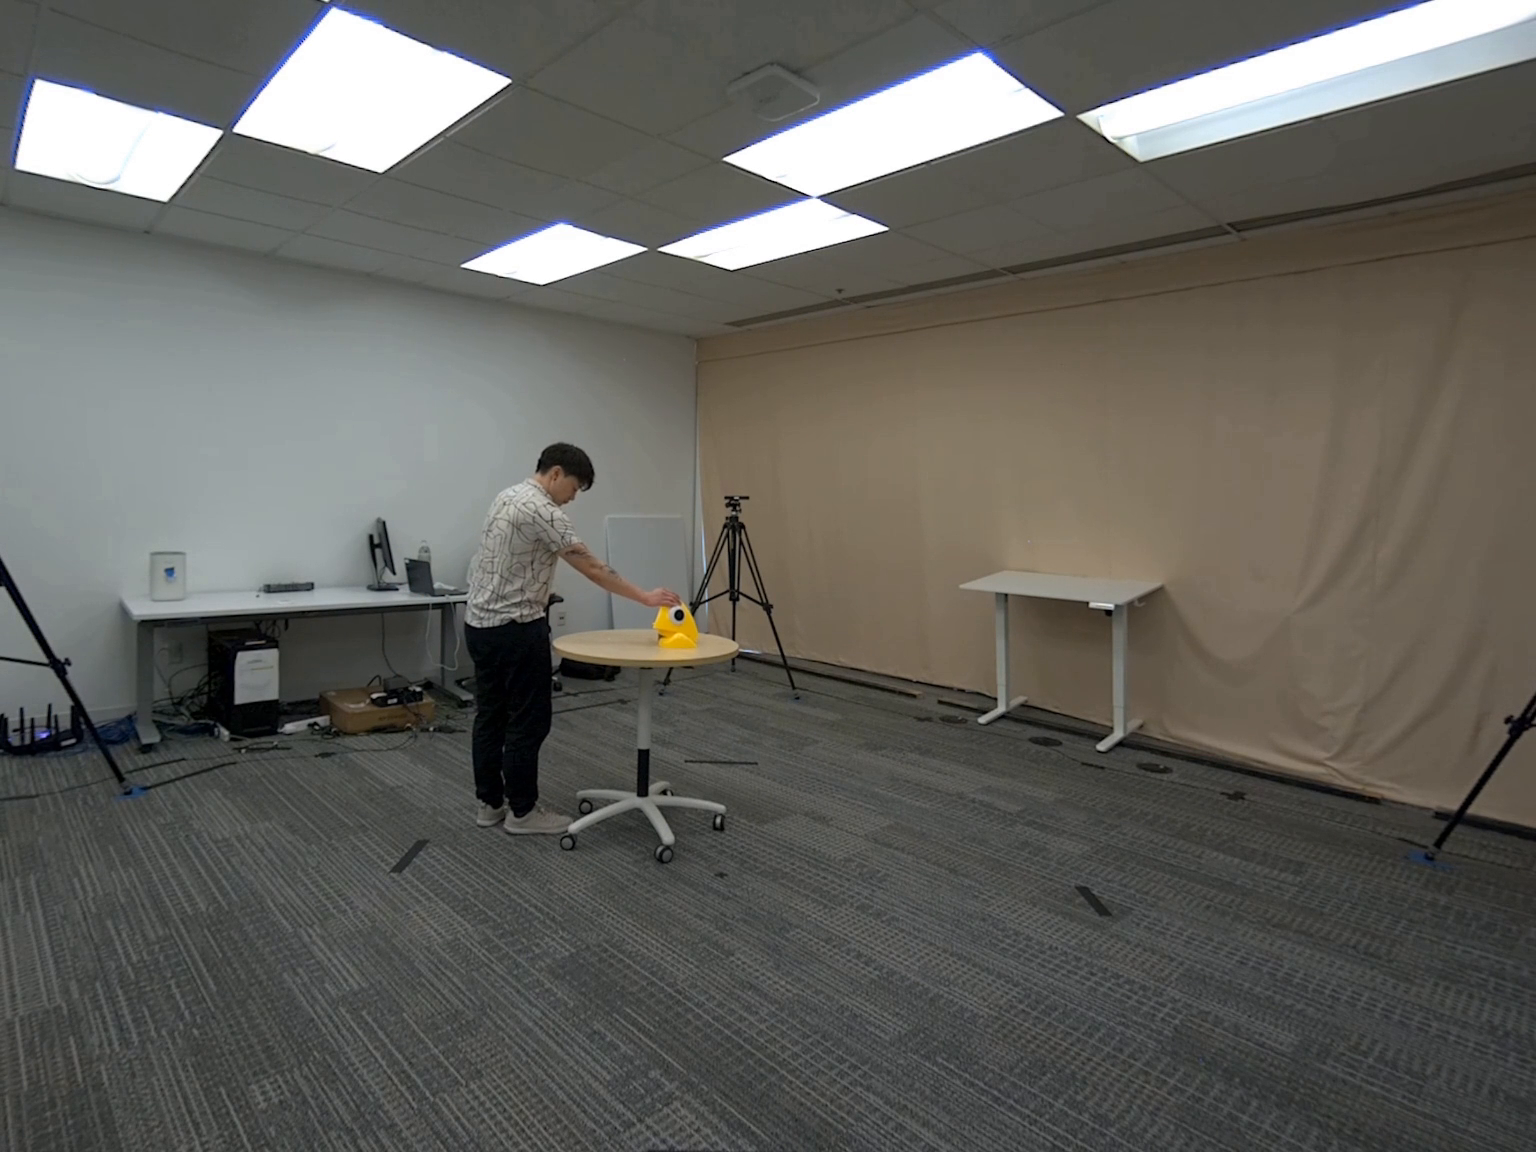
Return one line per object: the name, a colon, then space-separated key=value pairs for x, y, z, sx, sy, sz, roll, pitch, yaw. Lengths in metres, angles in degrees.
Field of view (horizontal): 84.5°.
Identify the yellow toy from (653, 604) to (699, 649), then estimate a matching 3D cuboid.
yellow toy: x=-0.388 y=0.170 z=3.484 sx=0.192 sy=0.230 sz=0.206 roll=2 pitch=3 yaw=-5
